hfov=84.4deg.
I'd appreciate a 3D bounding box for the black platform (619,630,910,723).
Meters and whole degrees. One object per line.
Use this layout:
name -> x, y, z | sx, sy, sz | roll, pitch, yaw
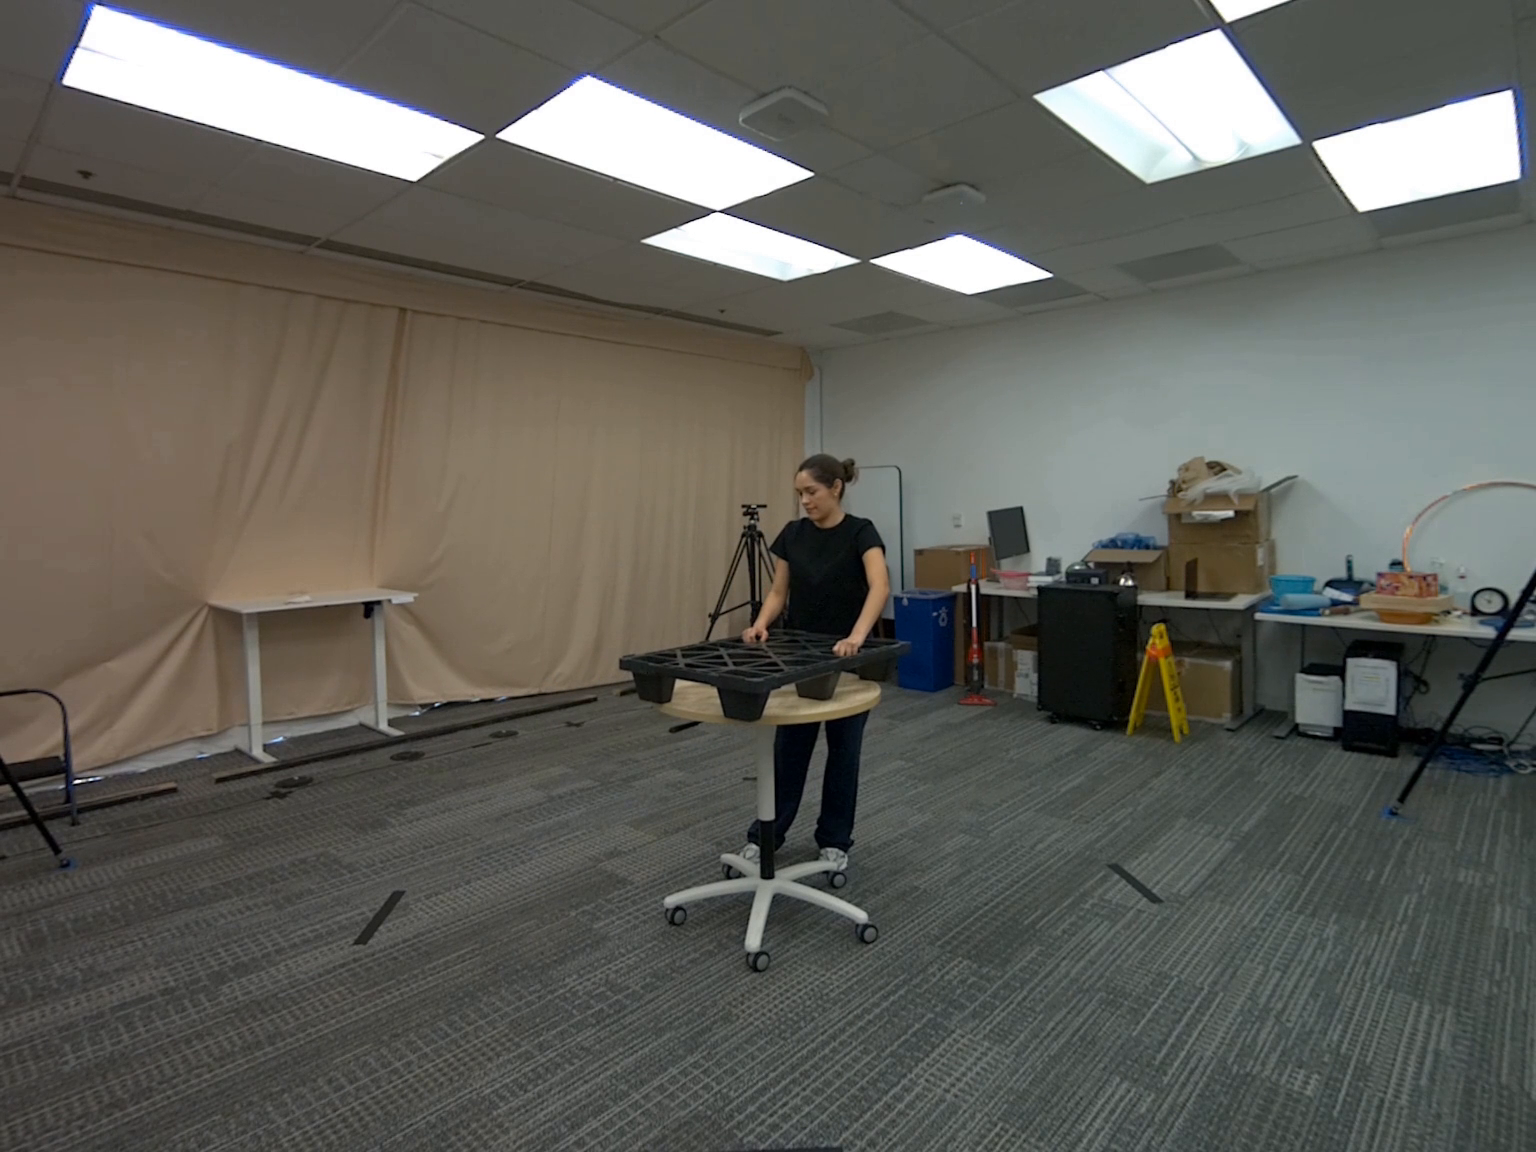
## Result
black platform -> 0.028, 0.312, 2.762 | 0.625, 0.143, 0.781 | 4, 6, 42
